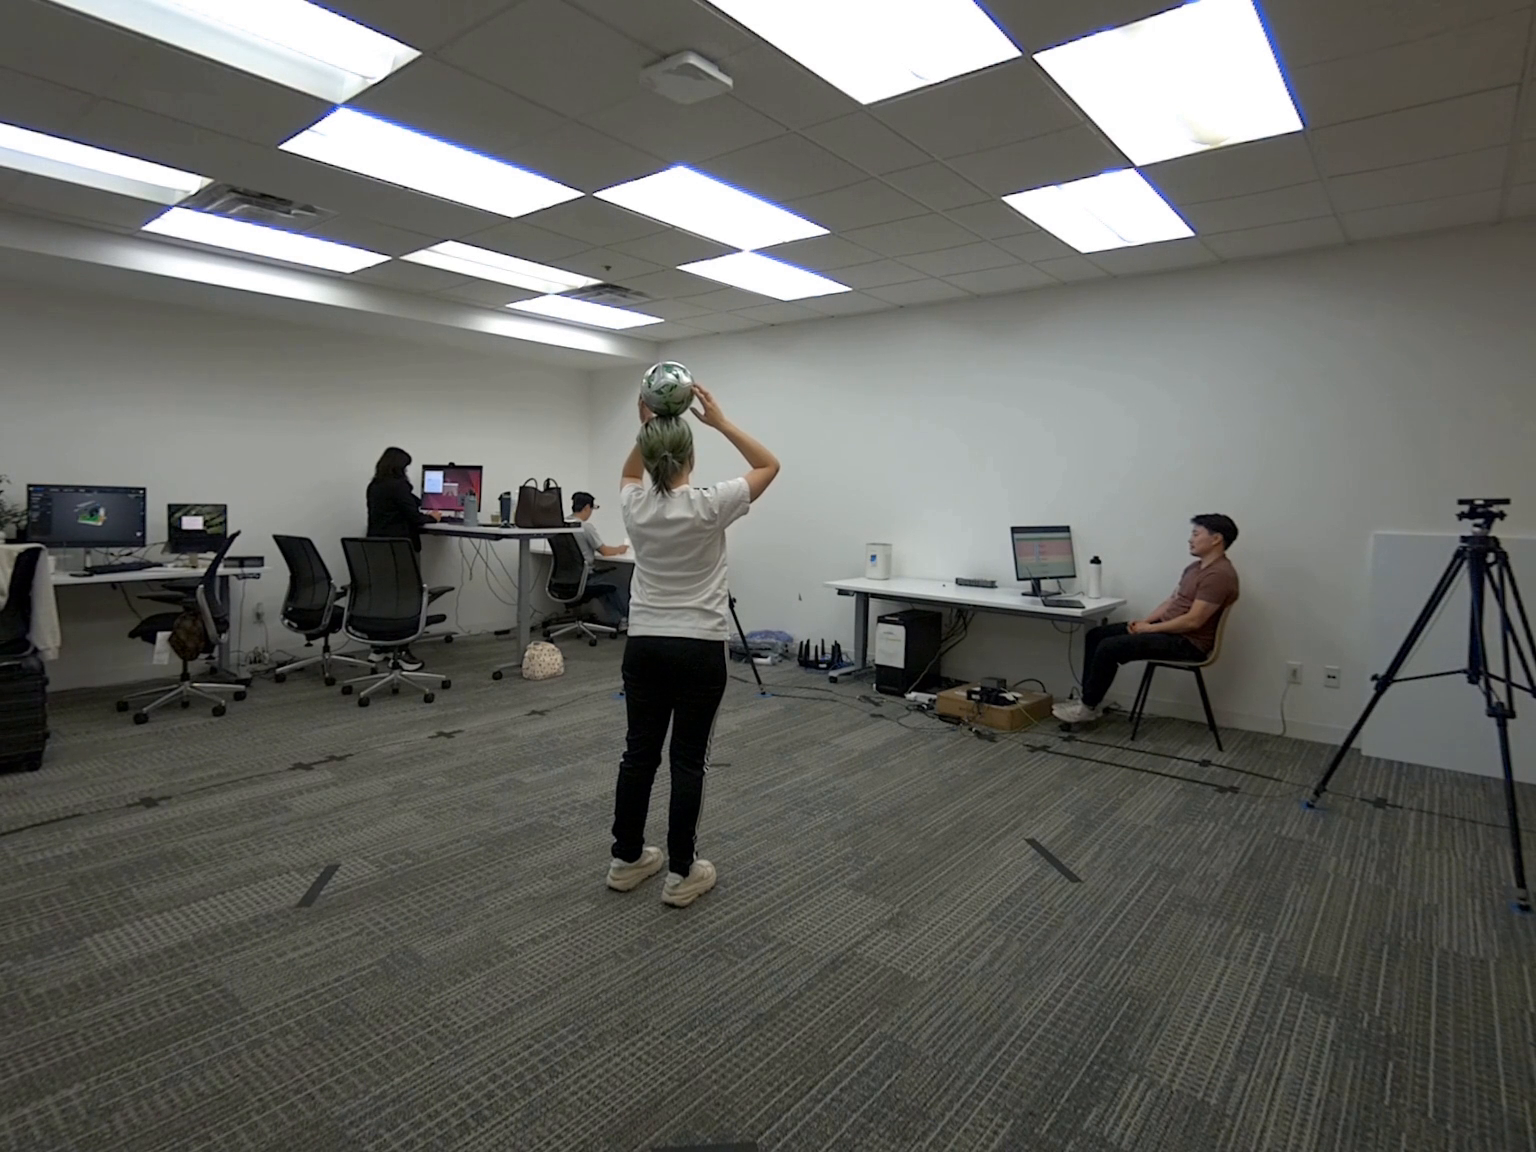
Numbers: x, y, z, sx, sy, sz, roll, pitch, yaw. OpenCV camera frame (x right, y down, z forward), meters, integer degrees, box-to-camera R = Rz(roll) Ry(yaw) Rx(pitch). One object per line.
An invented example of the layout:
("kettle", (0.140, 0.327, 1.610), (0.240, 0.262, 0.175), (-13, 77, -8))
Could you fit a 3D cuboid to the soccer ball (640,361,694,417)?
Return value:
("soccer ball", (-0.354, -0.638, 2.894), (0.187, 0.187, 0.188), (1, 4, -2))
